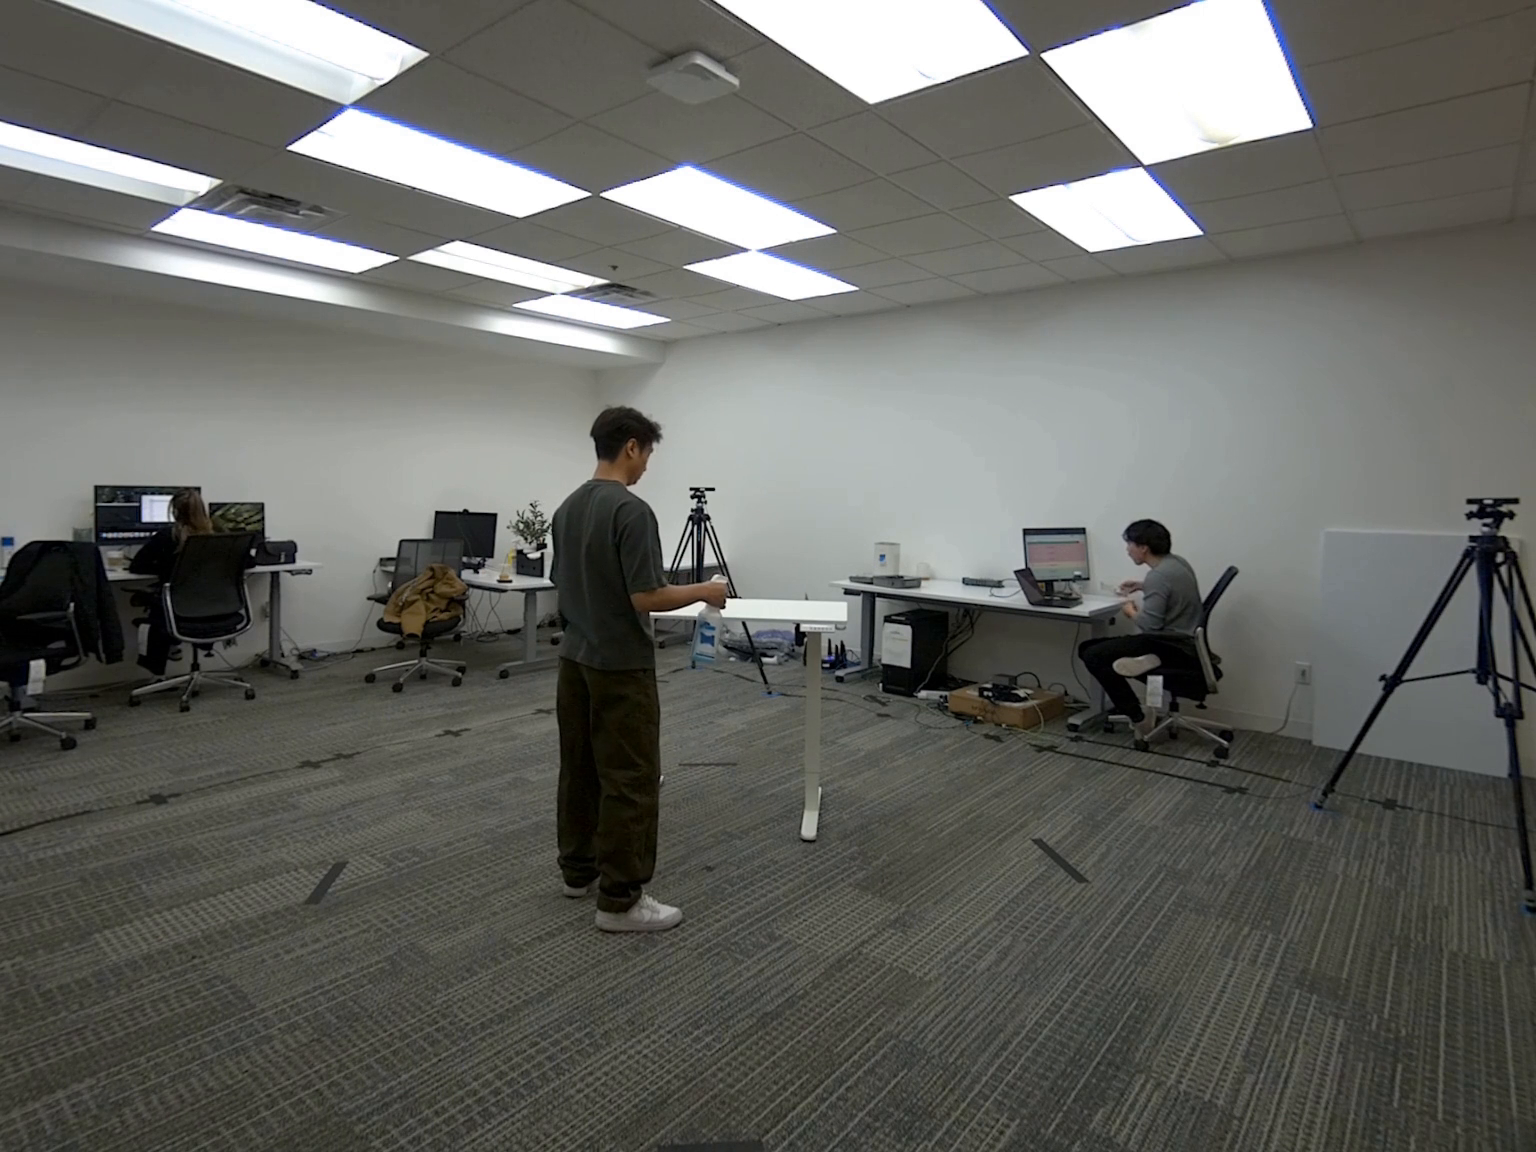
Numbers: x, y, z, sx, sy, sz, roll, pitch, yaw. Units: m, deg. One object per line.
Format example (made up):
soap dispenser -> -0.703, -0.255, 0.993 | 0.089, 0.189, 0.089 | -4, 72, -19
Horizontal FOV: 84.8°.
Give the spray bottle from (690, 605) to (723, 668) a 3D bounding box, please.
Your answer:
spray bottle -> -0.202, 0.142, 2.824 | 0.087, 0.299, 0.089 | 17, -10, -33
